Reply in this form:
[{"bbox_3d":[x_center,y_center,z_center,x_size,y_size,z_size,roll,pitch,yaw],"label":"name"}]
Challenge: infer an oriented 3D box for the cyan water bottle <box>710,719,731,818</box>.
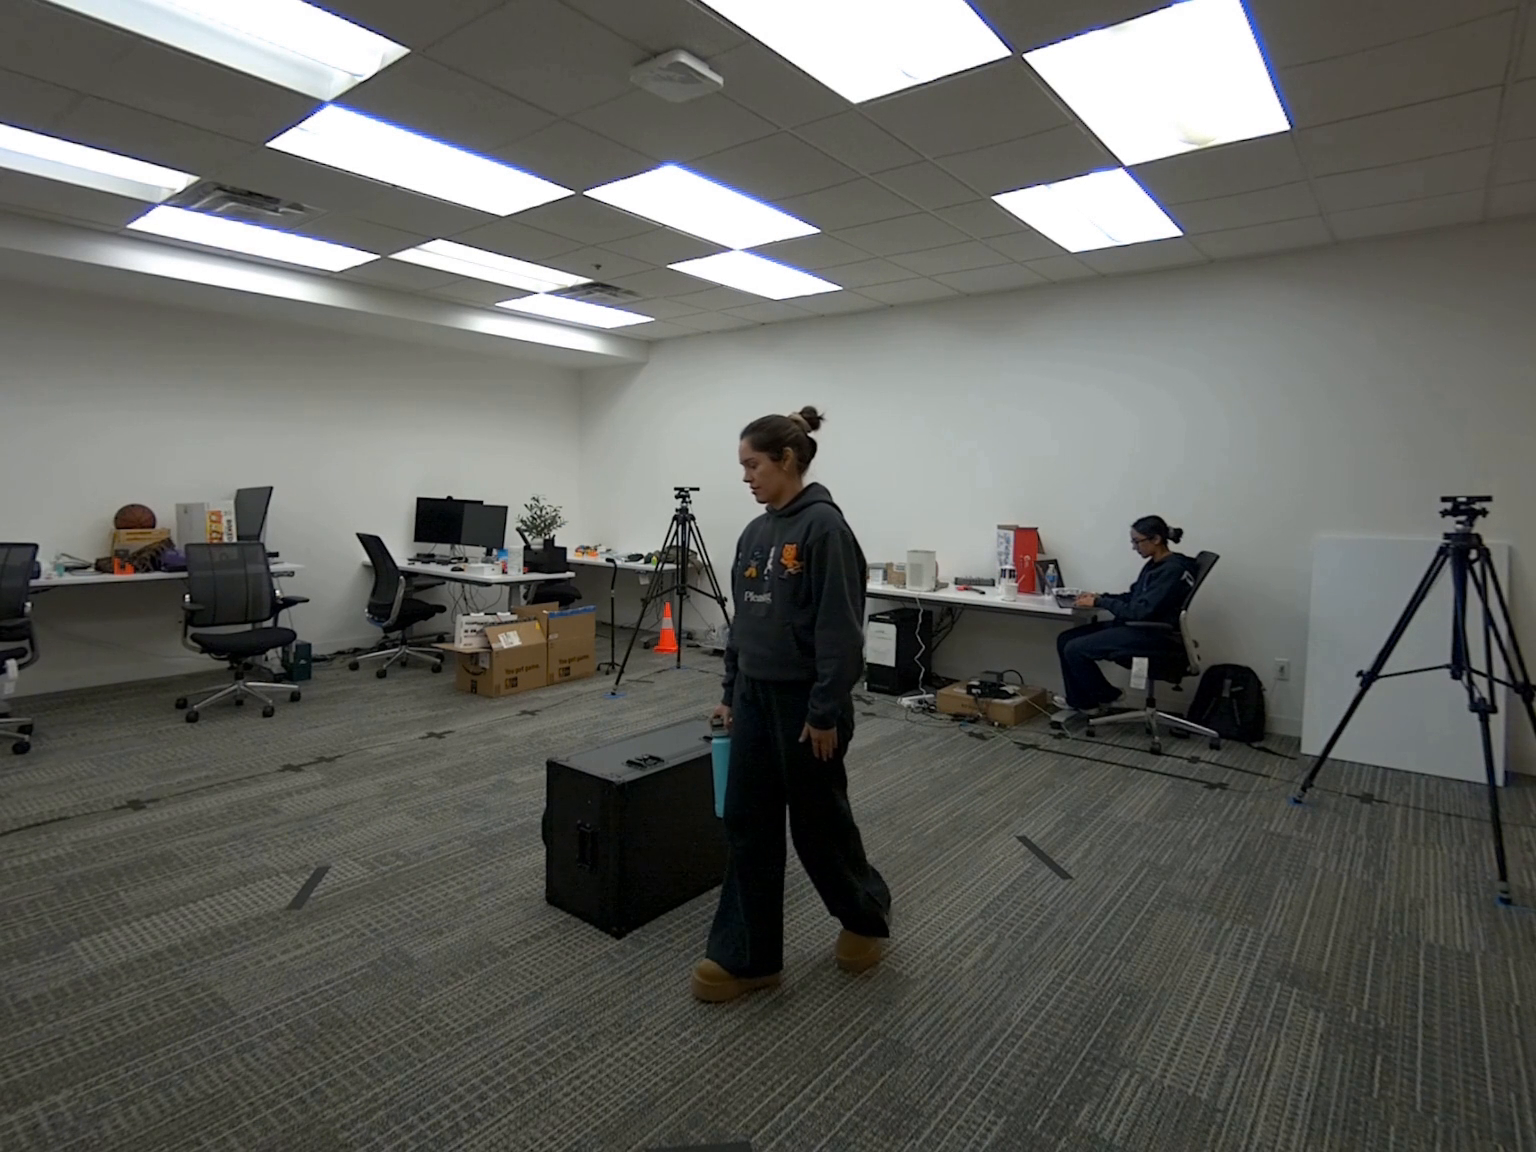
[{"bbox_3d":[-0.121,0.570,2.566,0.092,0.286,0.091,-3,-9,-2],"label":"cyan water bottle"}]
